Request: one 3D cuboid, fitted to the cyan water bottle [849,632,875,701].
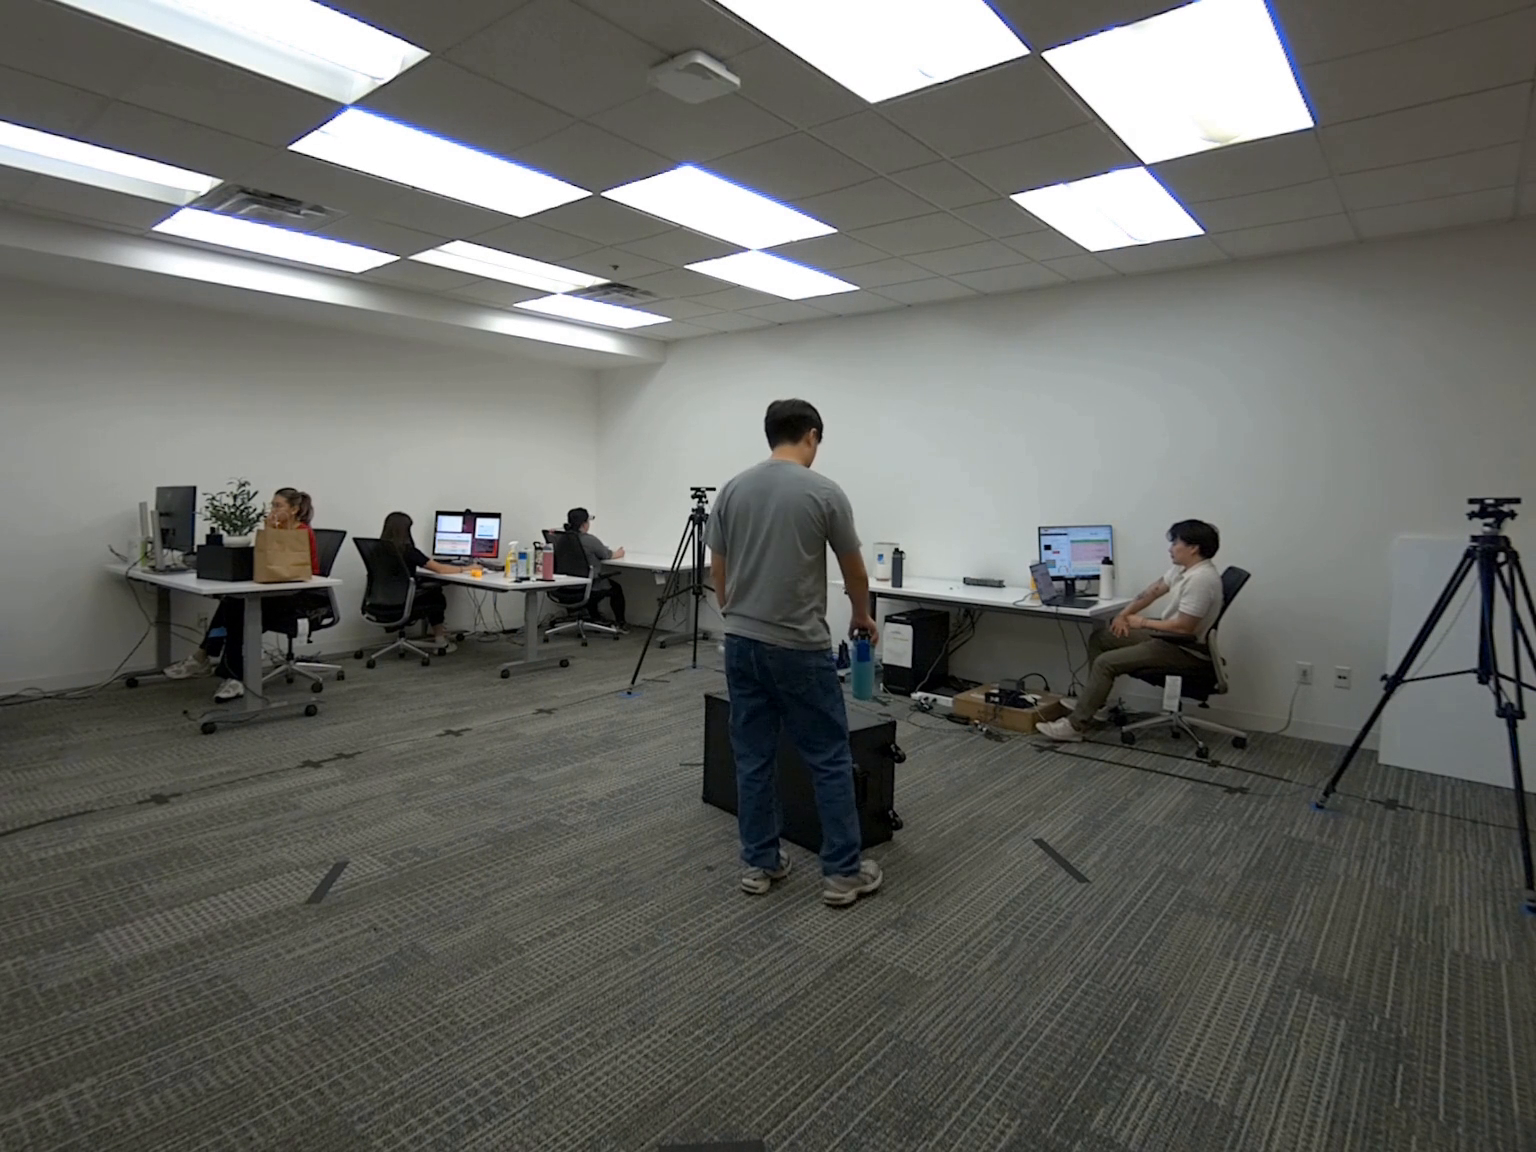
[{"bbox_3d":[0.341,0.344,3.233,0.092,0.278,0.094,-3,21,-1],"label":"cyan water bottle"}]
